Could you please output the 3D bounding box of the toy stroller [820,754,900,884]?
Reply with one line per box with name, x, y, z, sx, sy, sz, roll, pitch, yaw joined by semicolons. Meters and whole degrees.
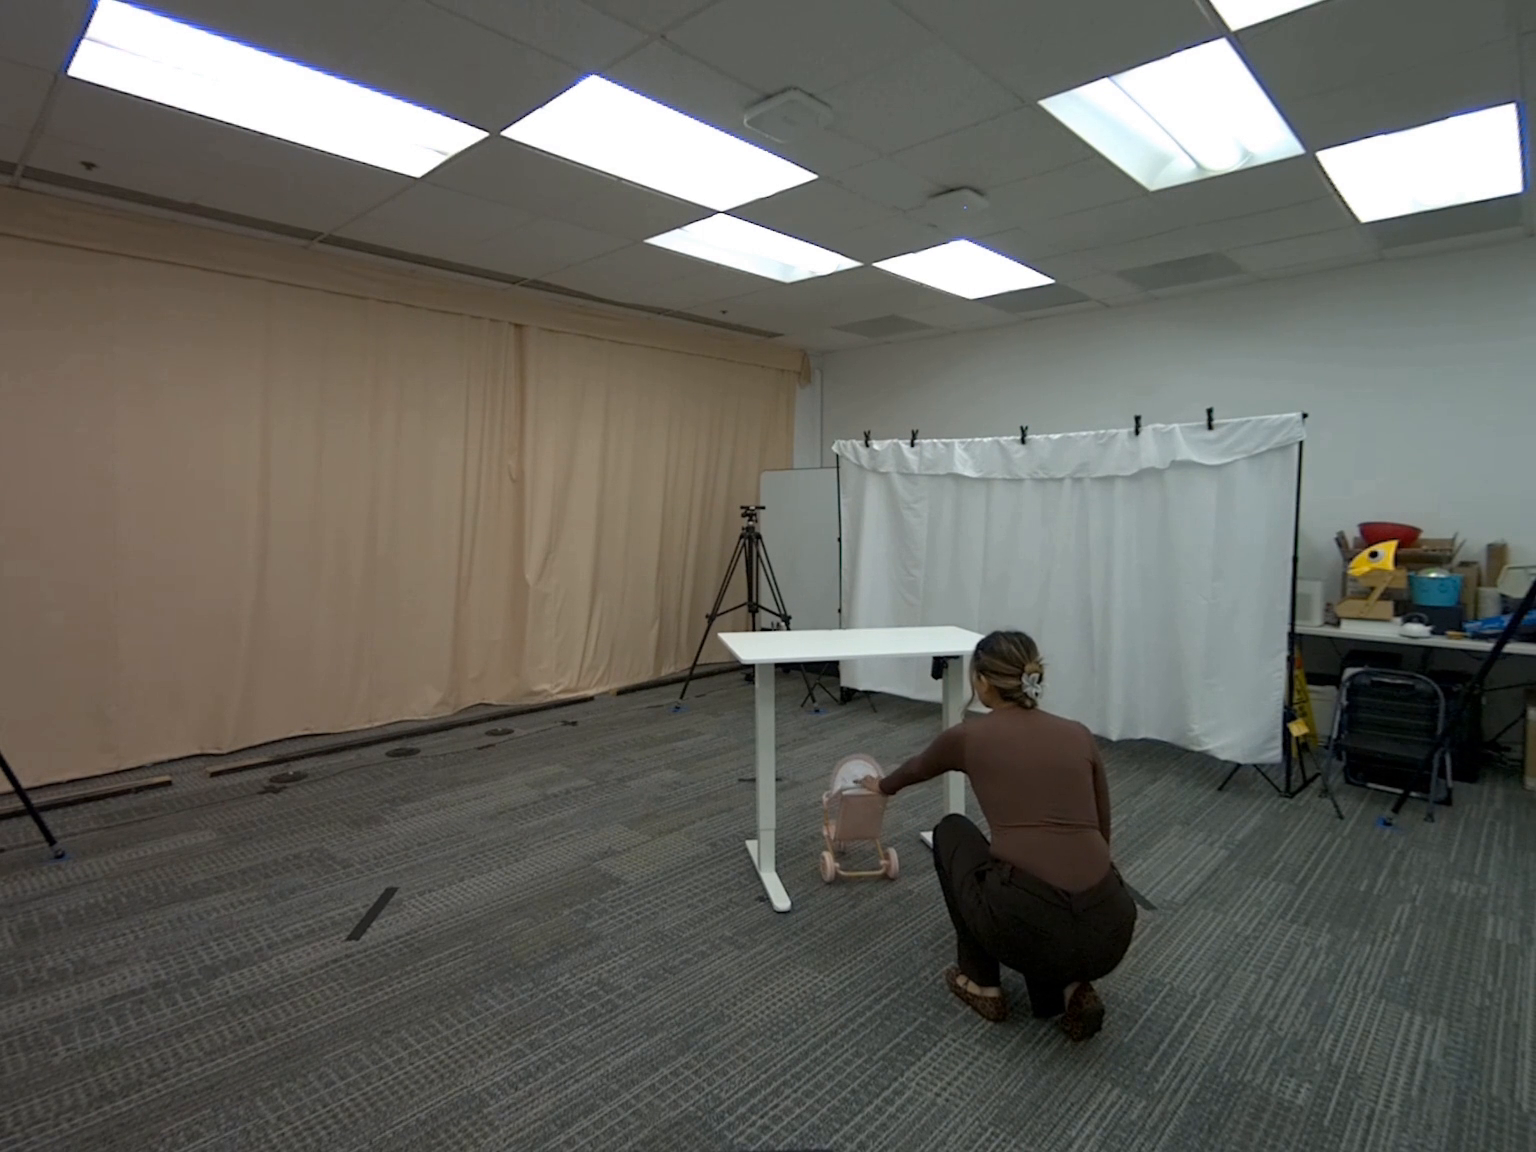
toy stroller;0.338;0.899;3.183;0.280;0.529;0.347;0;20;-6
